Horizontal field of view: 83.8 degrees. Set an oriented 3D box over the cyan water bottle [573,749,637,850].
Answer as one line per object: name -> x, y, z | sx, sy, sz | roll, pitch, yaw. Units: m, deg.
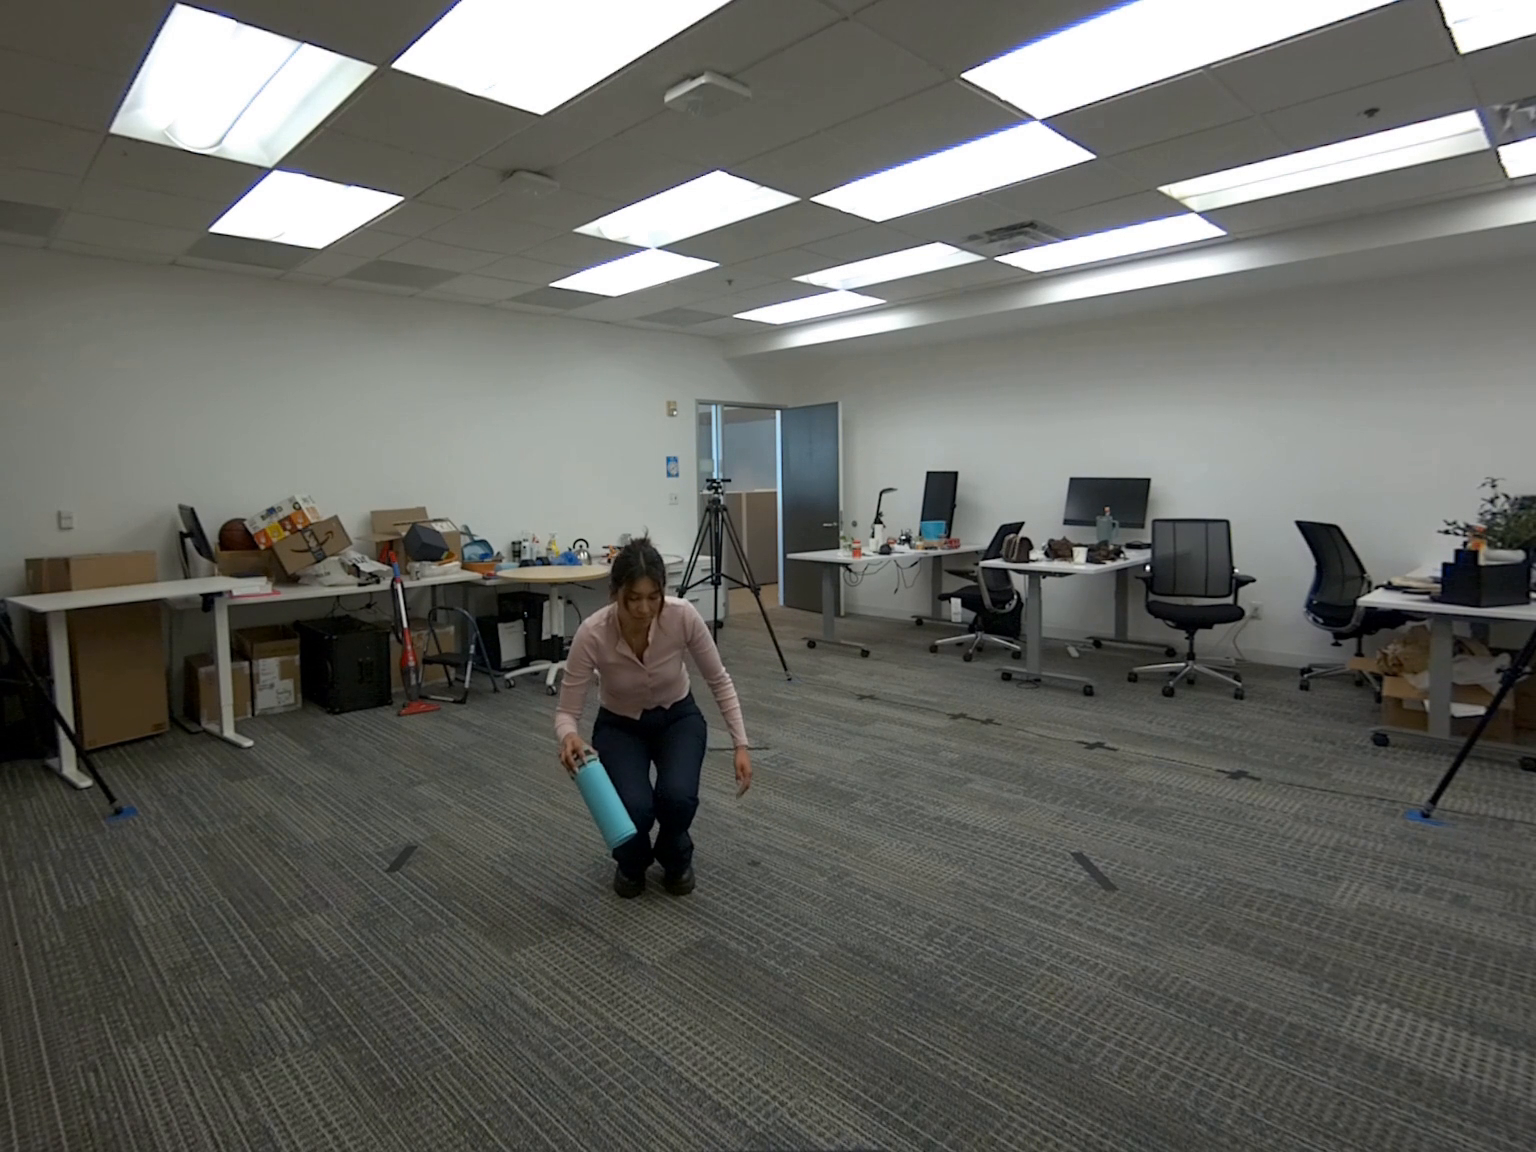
cyan water bottle -> -0.481, 0.622, 2.398 | 0.092, 0.290, 0.090 | -26, -20, -11
